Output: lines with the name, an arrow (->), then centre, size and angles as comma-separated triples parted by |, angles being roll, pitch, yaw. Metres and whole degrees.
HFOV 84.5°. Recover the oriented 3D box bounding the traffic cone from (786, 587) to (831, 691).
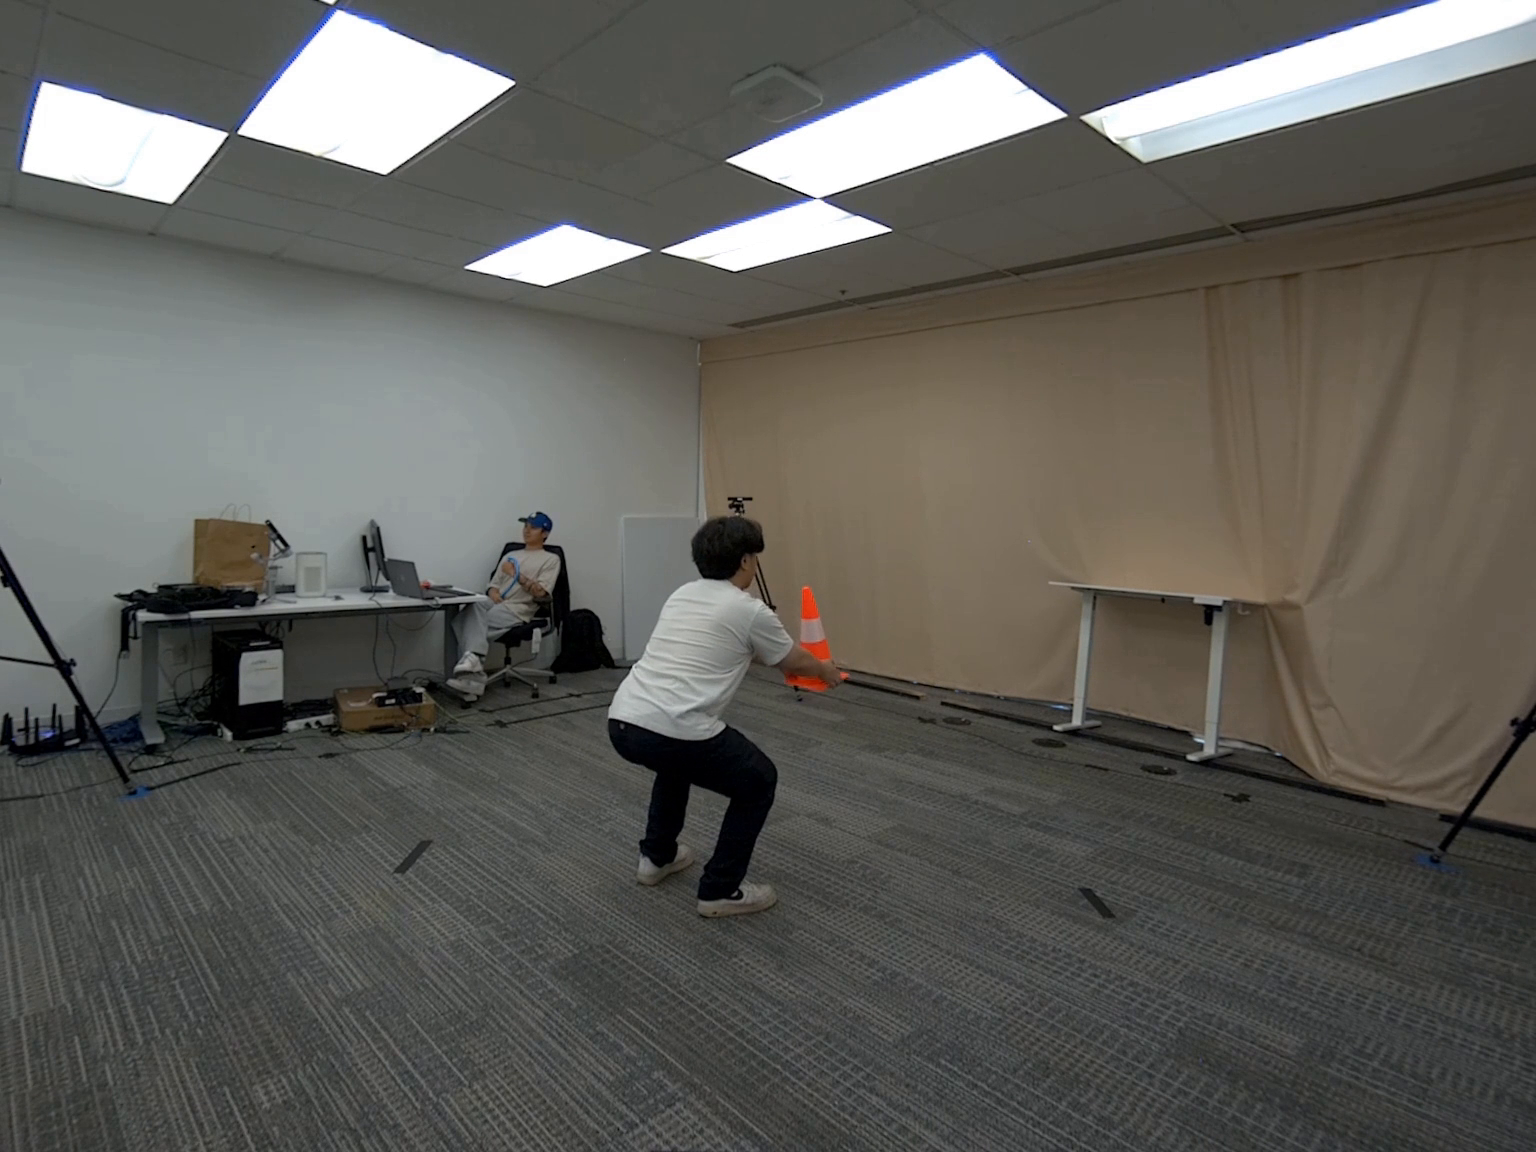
traffic cone -> 0.166, 0.232, 3.360 | 0.210, 0.380, 0.200 | 3, 13, 35
